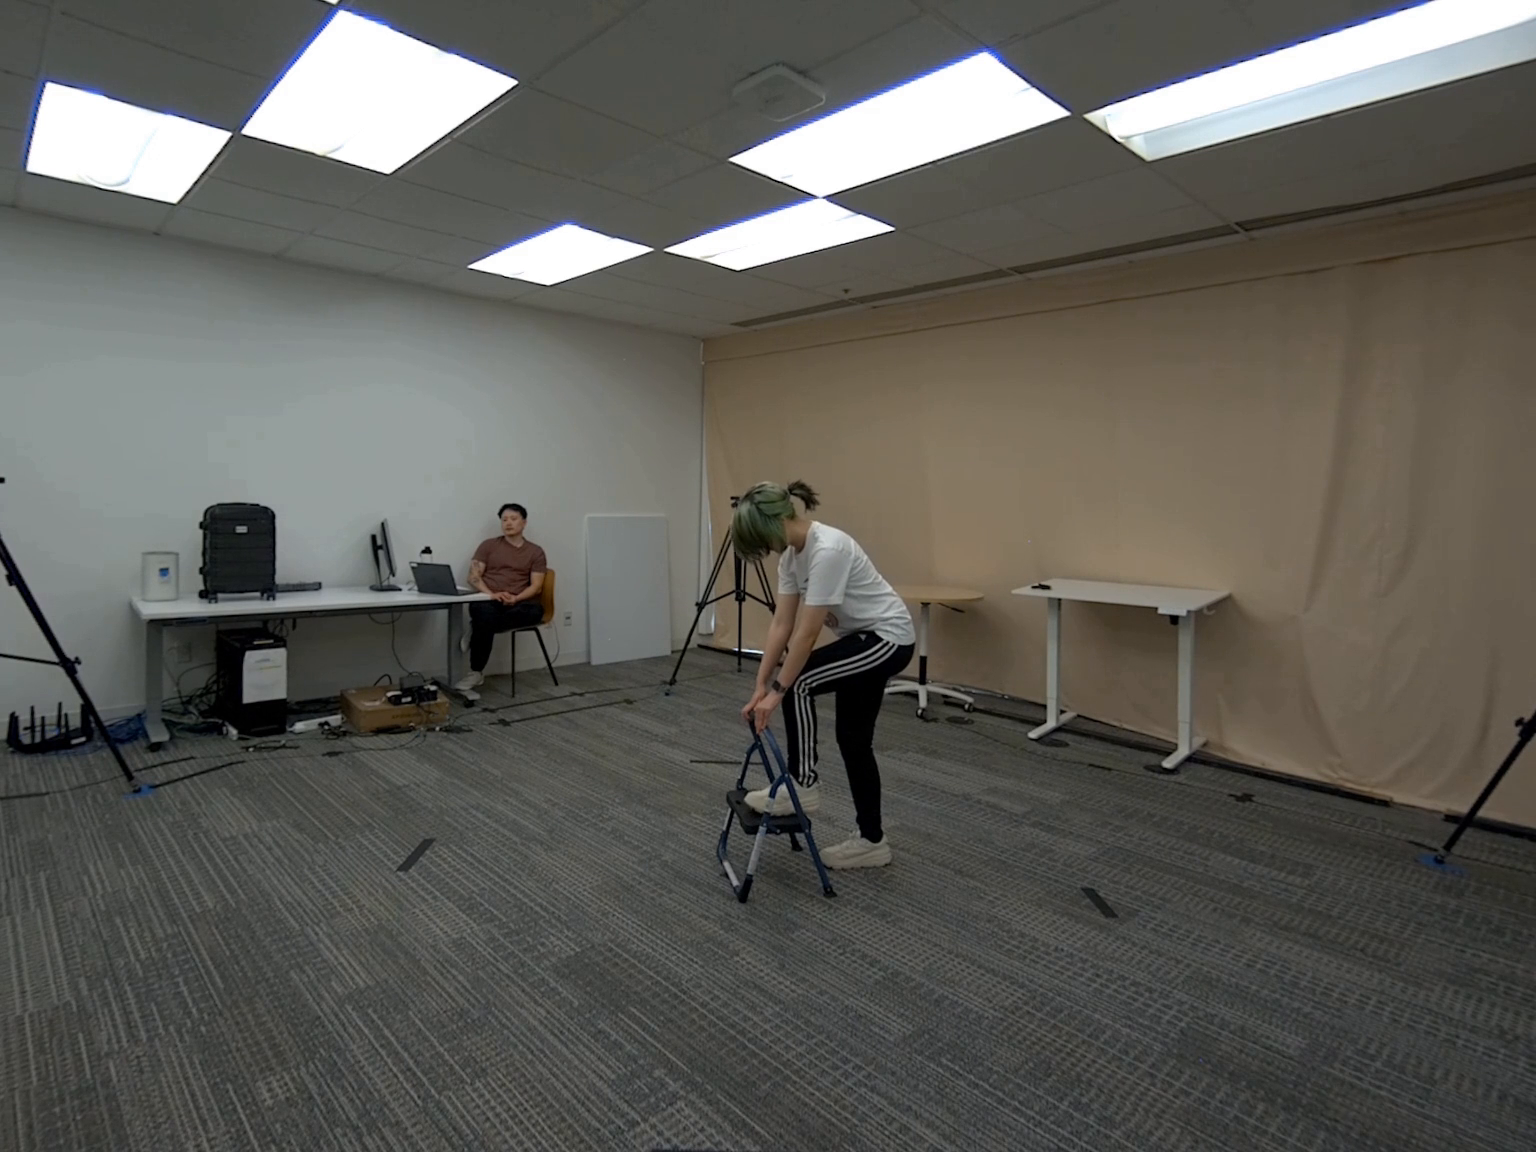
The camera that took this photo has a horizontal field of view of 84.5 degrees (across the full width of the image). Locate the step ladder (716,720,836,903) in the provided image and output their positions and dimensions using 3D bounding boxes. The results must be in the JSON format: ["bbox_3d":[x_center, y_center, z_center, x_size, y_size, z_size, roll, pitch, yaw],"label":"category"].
[{"bbox_3d":[0.015,0.811,3.103,0.345,0.605,0.436,1,4,-15],"label":"step ladder"}]
